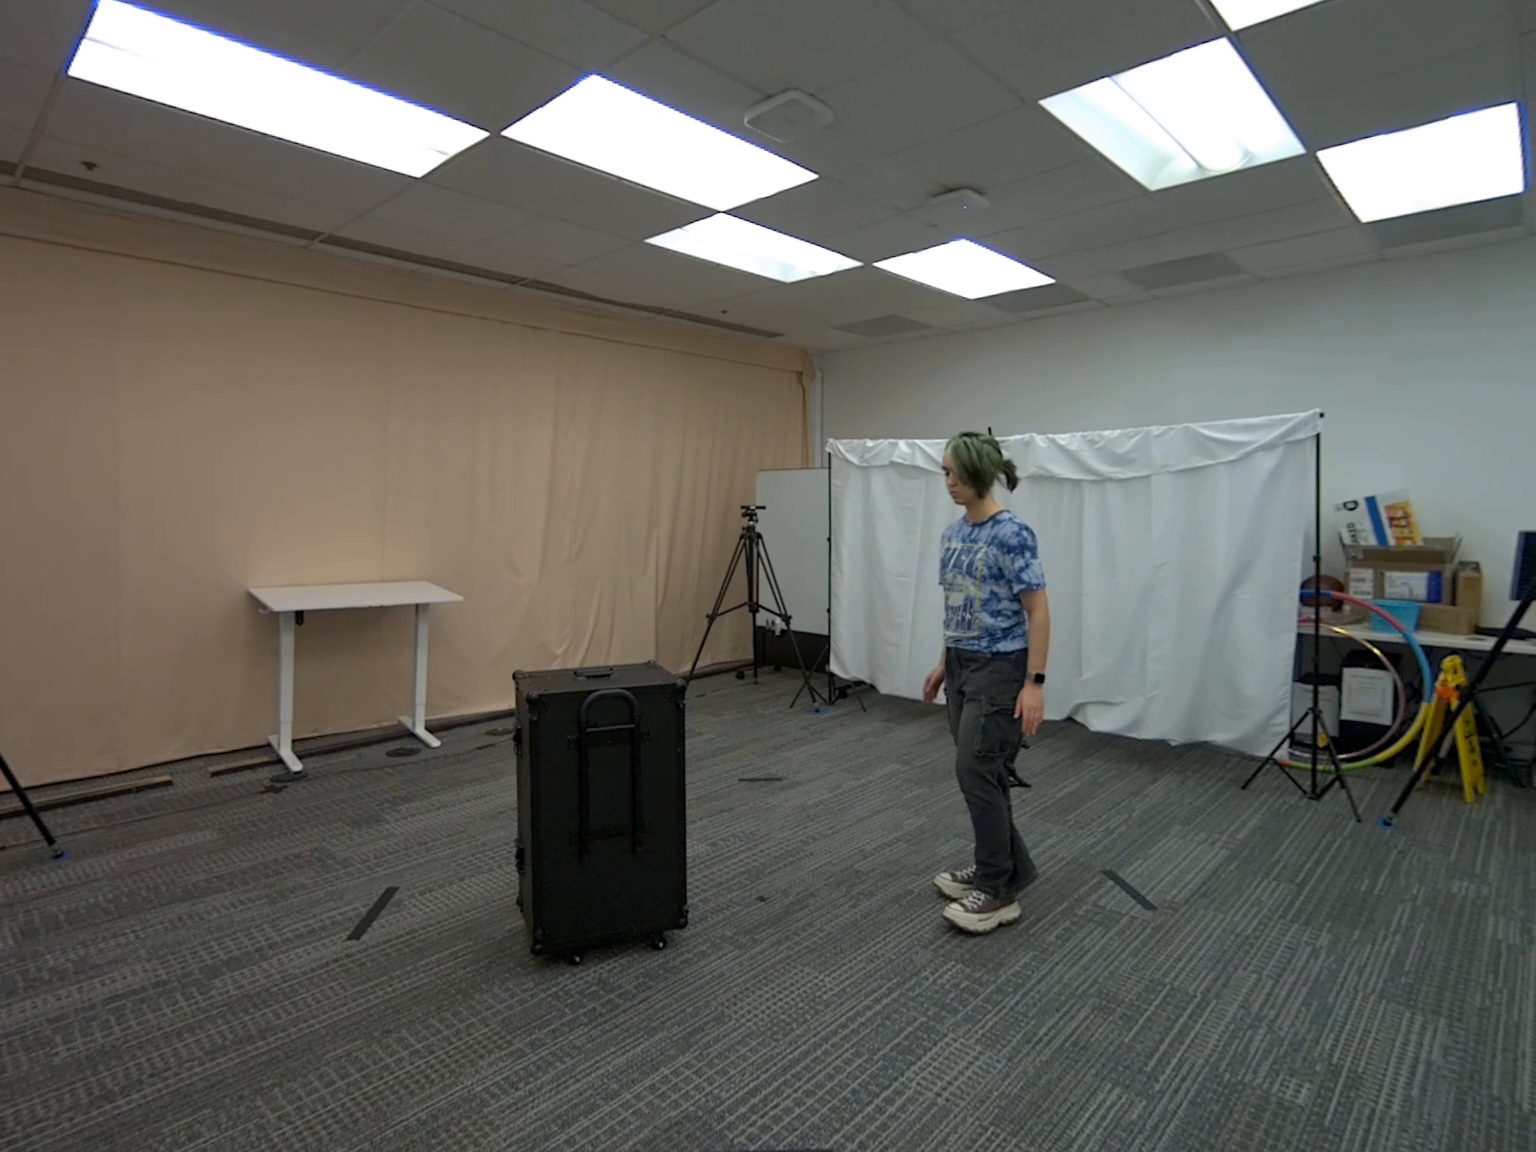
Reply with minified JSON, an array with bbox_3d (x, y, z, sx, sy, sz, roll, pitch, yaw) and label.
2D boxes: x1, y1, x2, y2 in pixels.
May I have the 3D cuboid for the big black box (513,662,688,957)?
[{"bbox_3d":[-0.532,0.750,2.699,0.510,0.859,0.405,-2,4,-21],"label":"big black box"}]
